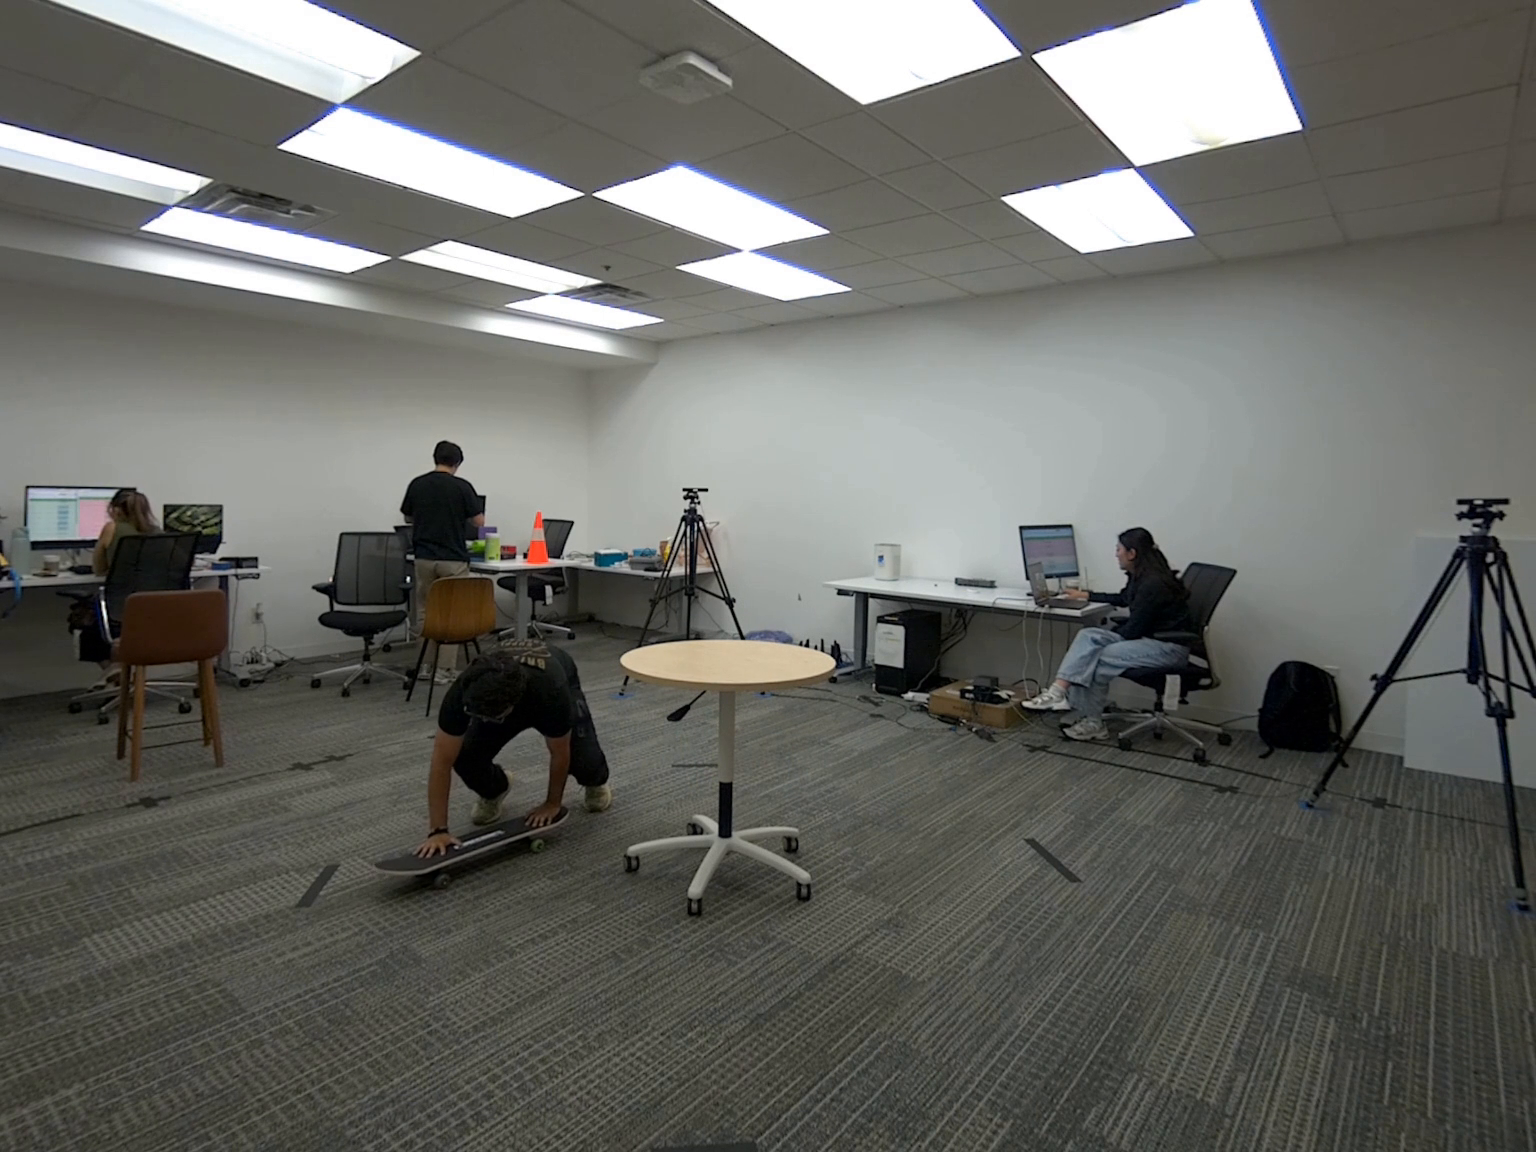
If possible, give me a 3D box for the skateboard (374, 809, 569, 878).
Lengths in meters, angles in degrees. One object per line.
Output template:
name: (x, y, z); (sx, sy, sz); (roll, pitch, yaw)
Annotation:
skateboard: (-1.071, 1.005, 3.124); (0.199, 0.110, 0.762); (-1, 3, 40)
